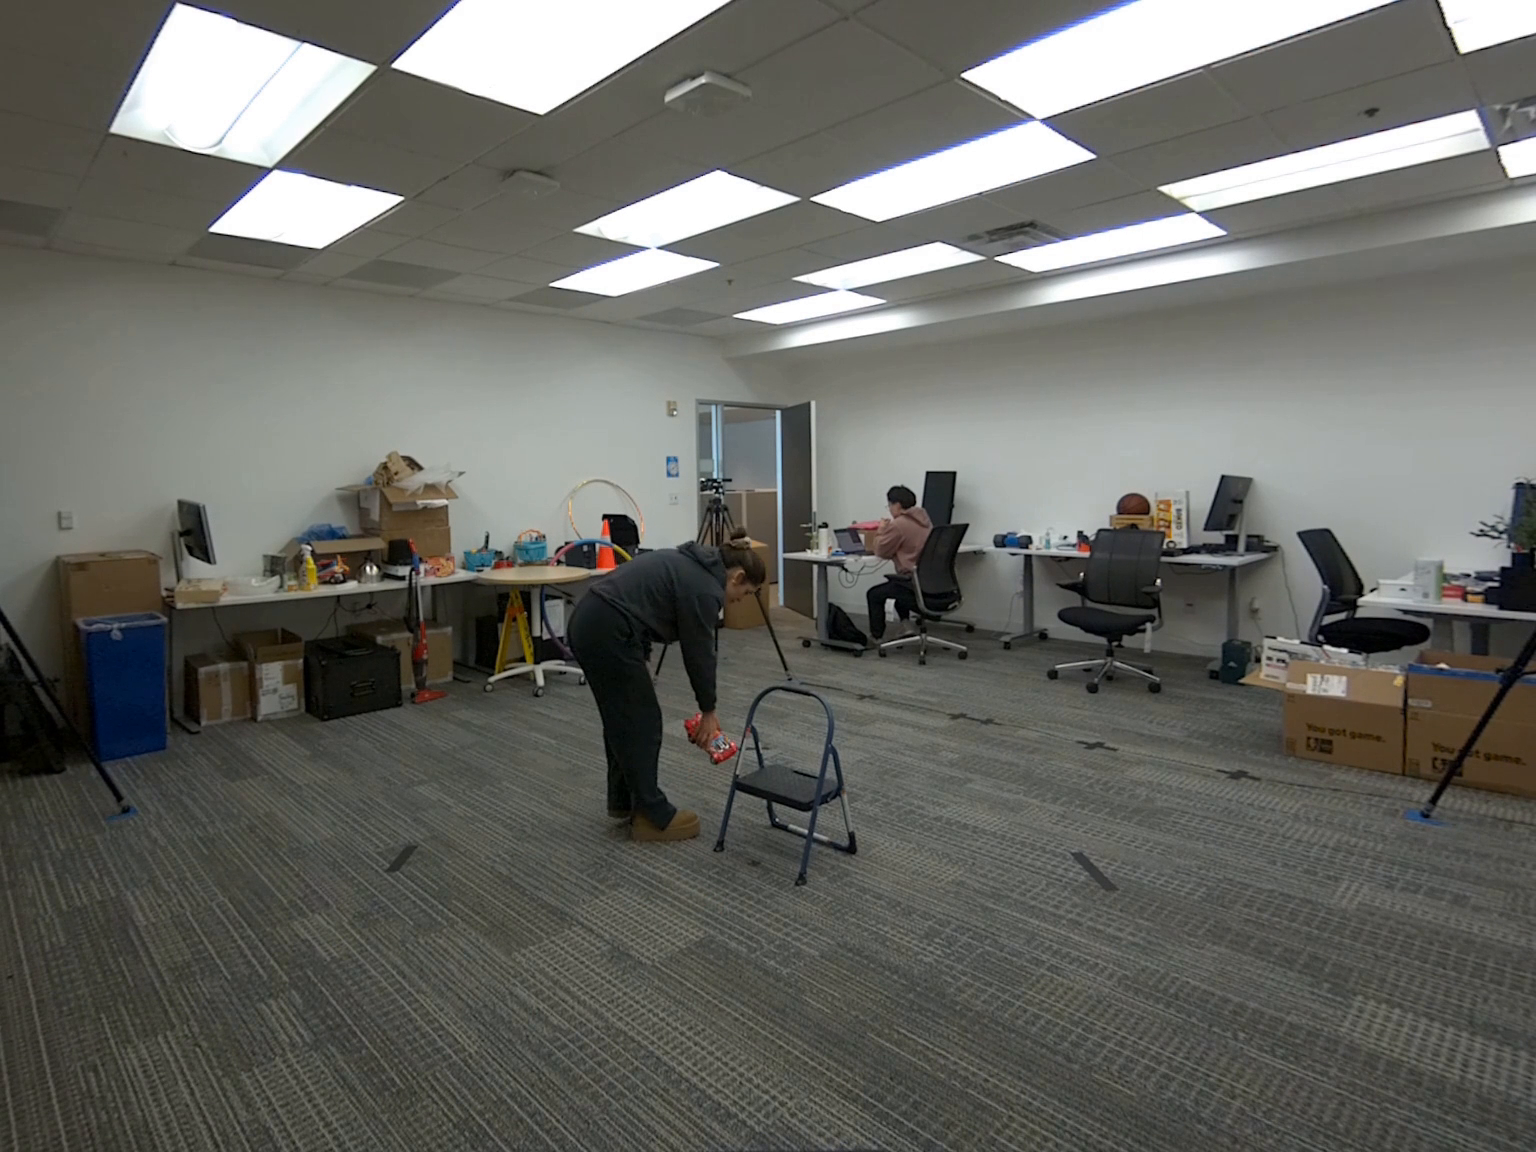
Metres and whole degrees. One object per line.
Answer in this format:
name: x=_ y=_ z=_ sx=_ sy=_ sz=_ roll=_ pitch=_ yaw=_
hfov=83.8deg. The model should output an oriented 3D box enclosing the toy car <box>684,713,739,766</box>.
toy car: x=-0.248 y=0.663 z=3.445 sx=0.129 sy=0.081 sz=0.264 roll=-27 pitch=54 yaw=-30
